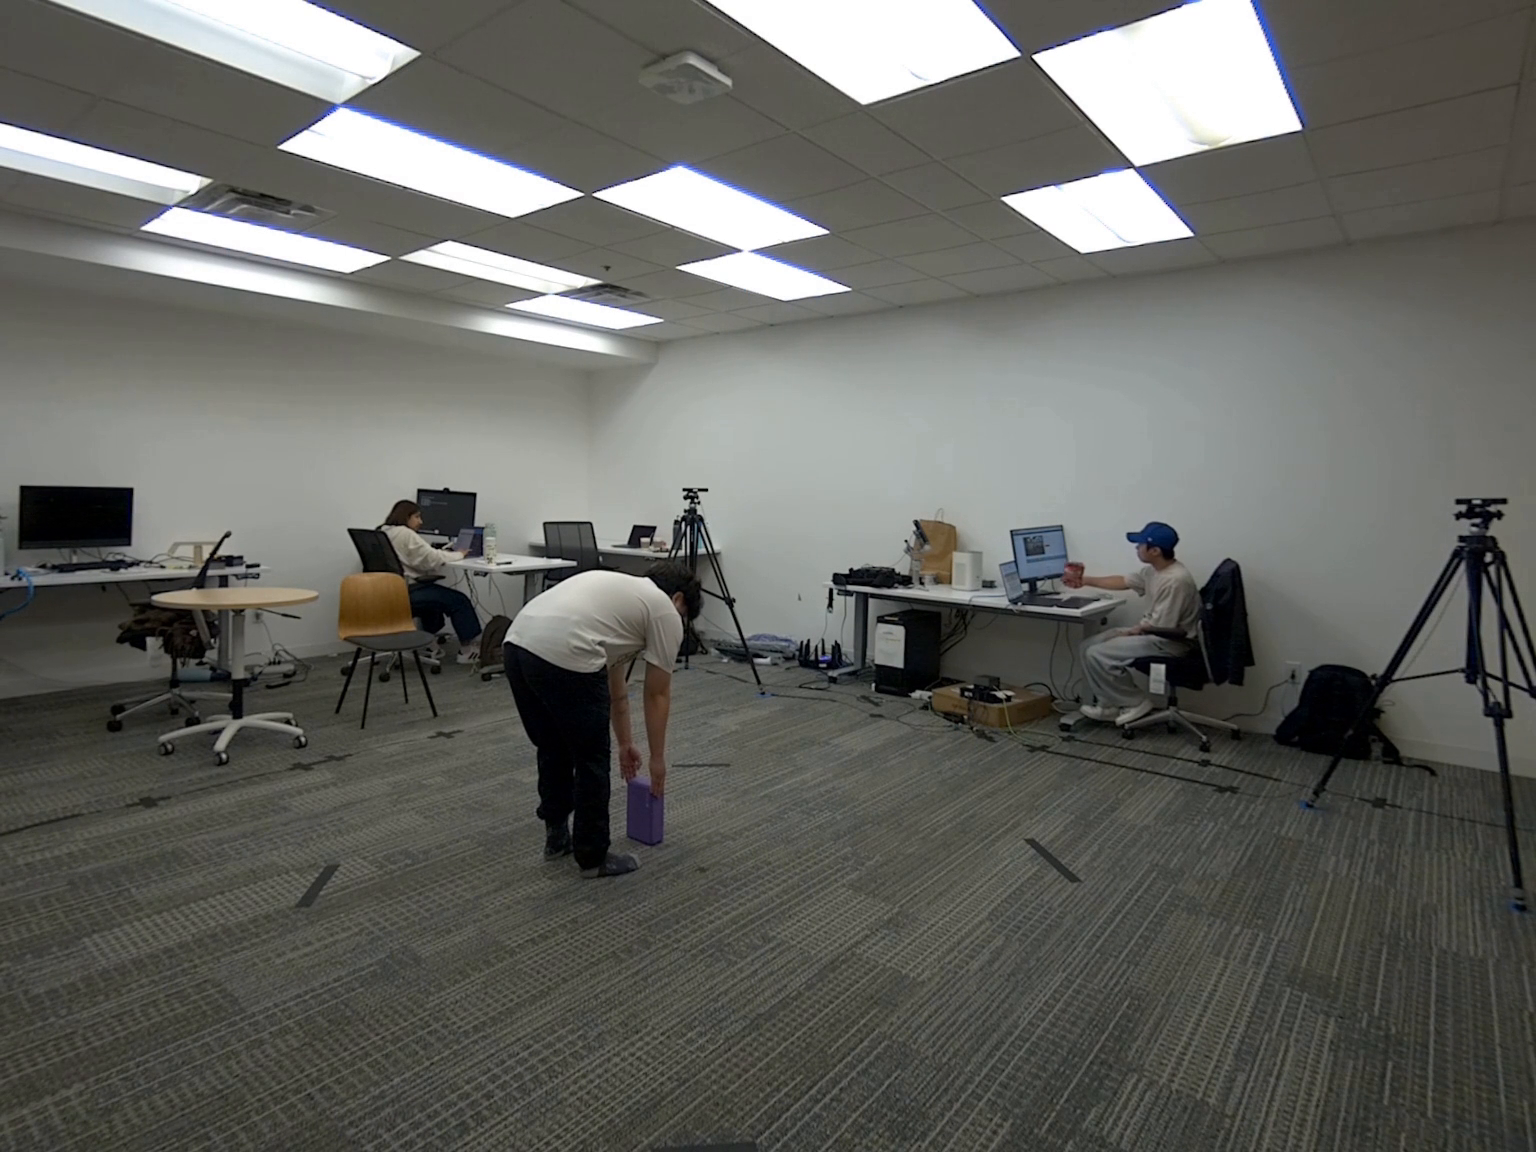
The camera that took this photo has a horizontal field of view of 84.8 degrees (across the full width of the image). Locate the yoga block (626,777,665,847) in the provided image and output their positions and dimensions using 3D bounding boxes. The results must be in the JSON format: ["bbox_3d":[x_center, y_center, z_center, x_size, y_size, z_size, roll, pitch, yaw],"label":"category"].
[{"bbox_3d":[-0.503,0.929,3.371,0.154,0.228,0.074,2,4,39],"label":"yoga block"}]
